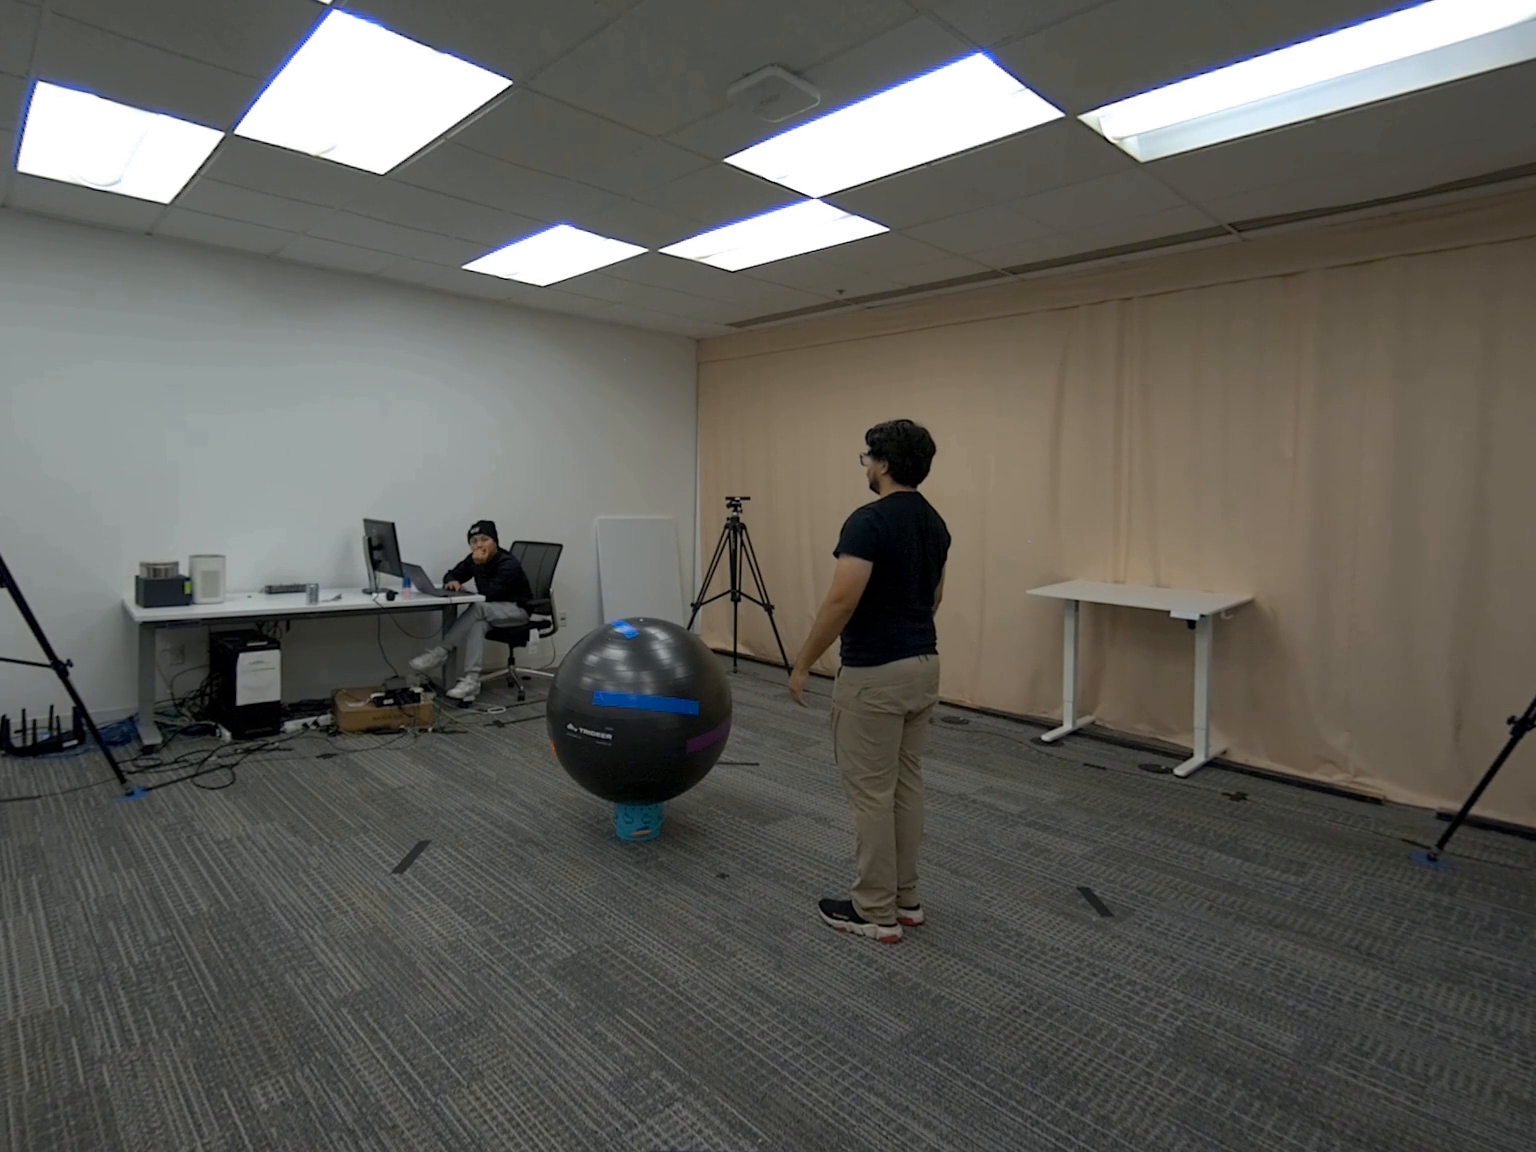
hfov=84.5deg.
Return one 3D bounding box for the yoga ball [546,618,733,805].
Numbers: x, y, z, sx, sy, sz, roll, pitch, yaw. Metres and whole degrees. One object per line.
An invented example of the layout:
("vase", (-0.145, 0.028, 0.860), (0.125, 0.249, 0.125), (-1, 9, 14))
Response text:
("yoga ball", (-0.535, 0.549, 3.469), (0.757, 0.756, 0.761), (1, 4, -1))
